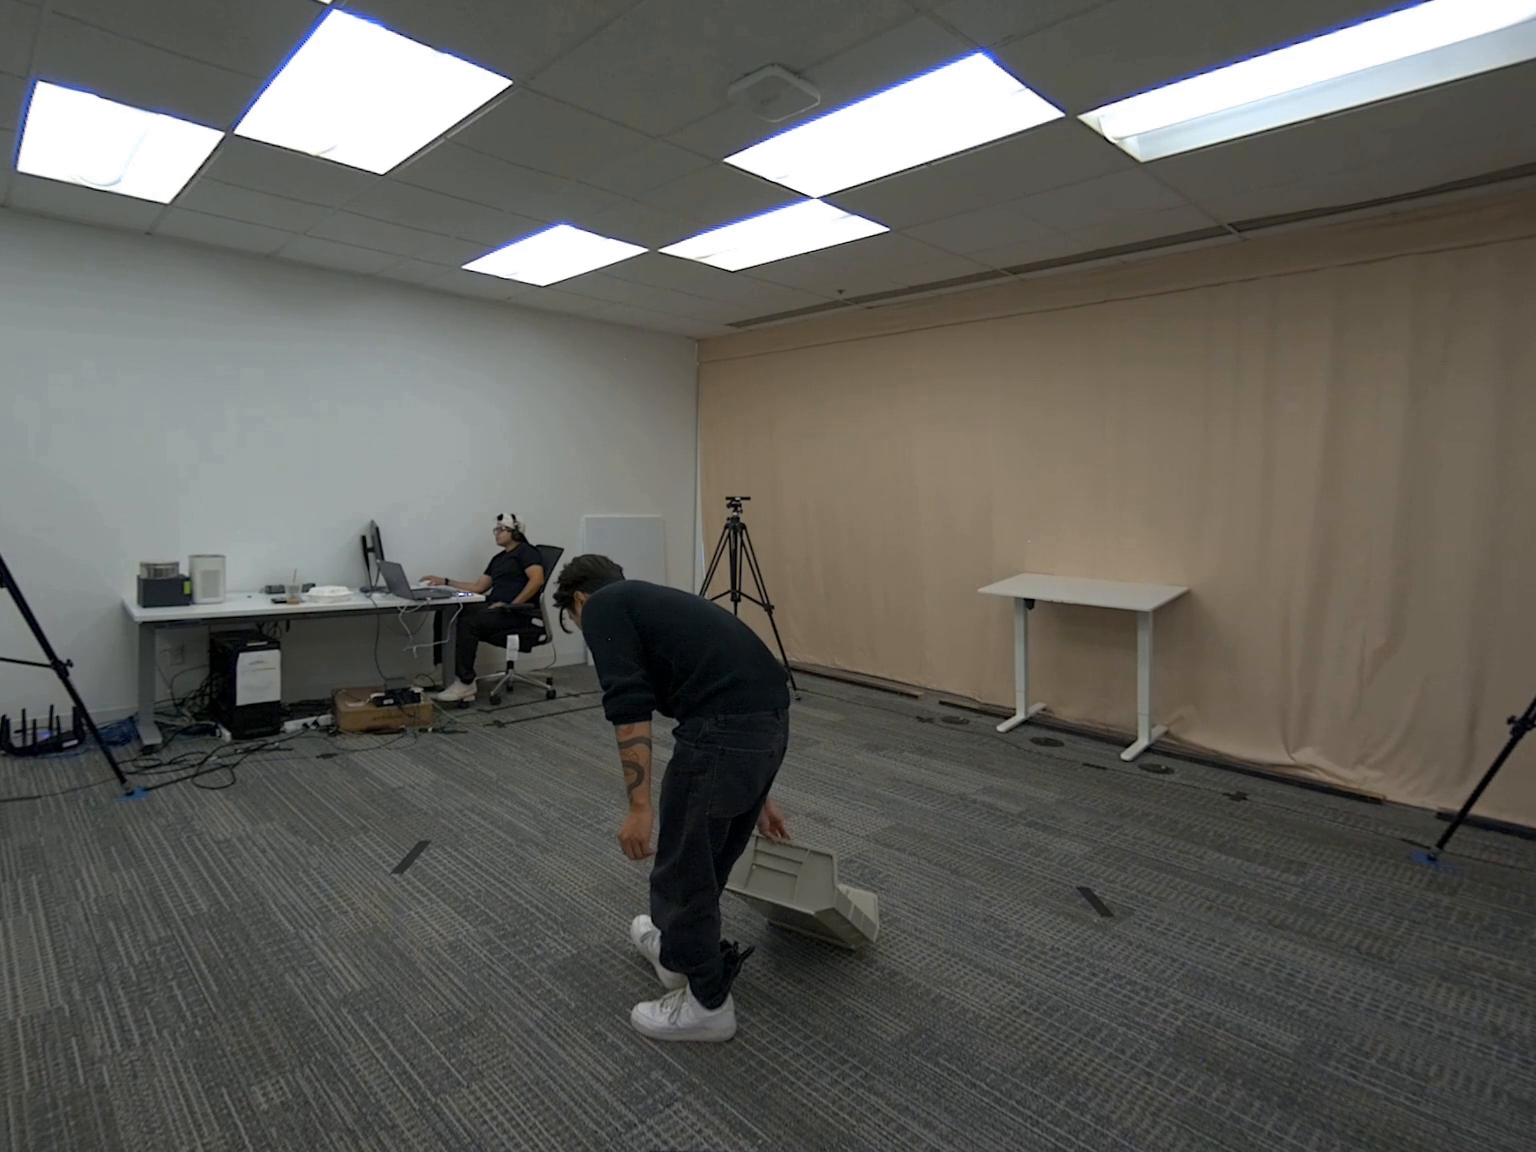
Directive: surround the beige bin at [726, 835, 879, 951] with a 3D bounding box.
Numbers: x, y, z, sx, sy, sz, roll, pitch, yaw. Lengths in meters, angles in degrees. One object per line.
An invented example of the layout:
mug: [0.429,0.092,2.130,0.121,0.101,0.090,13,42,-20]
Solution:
beige bin: [0.103,0.967,2.569,0.386,0.191,0.409,5,-31,30]
